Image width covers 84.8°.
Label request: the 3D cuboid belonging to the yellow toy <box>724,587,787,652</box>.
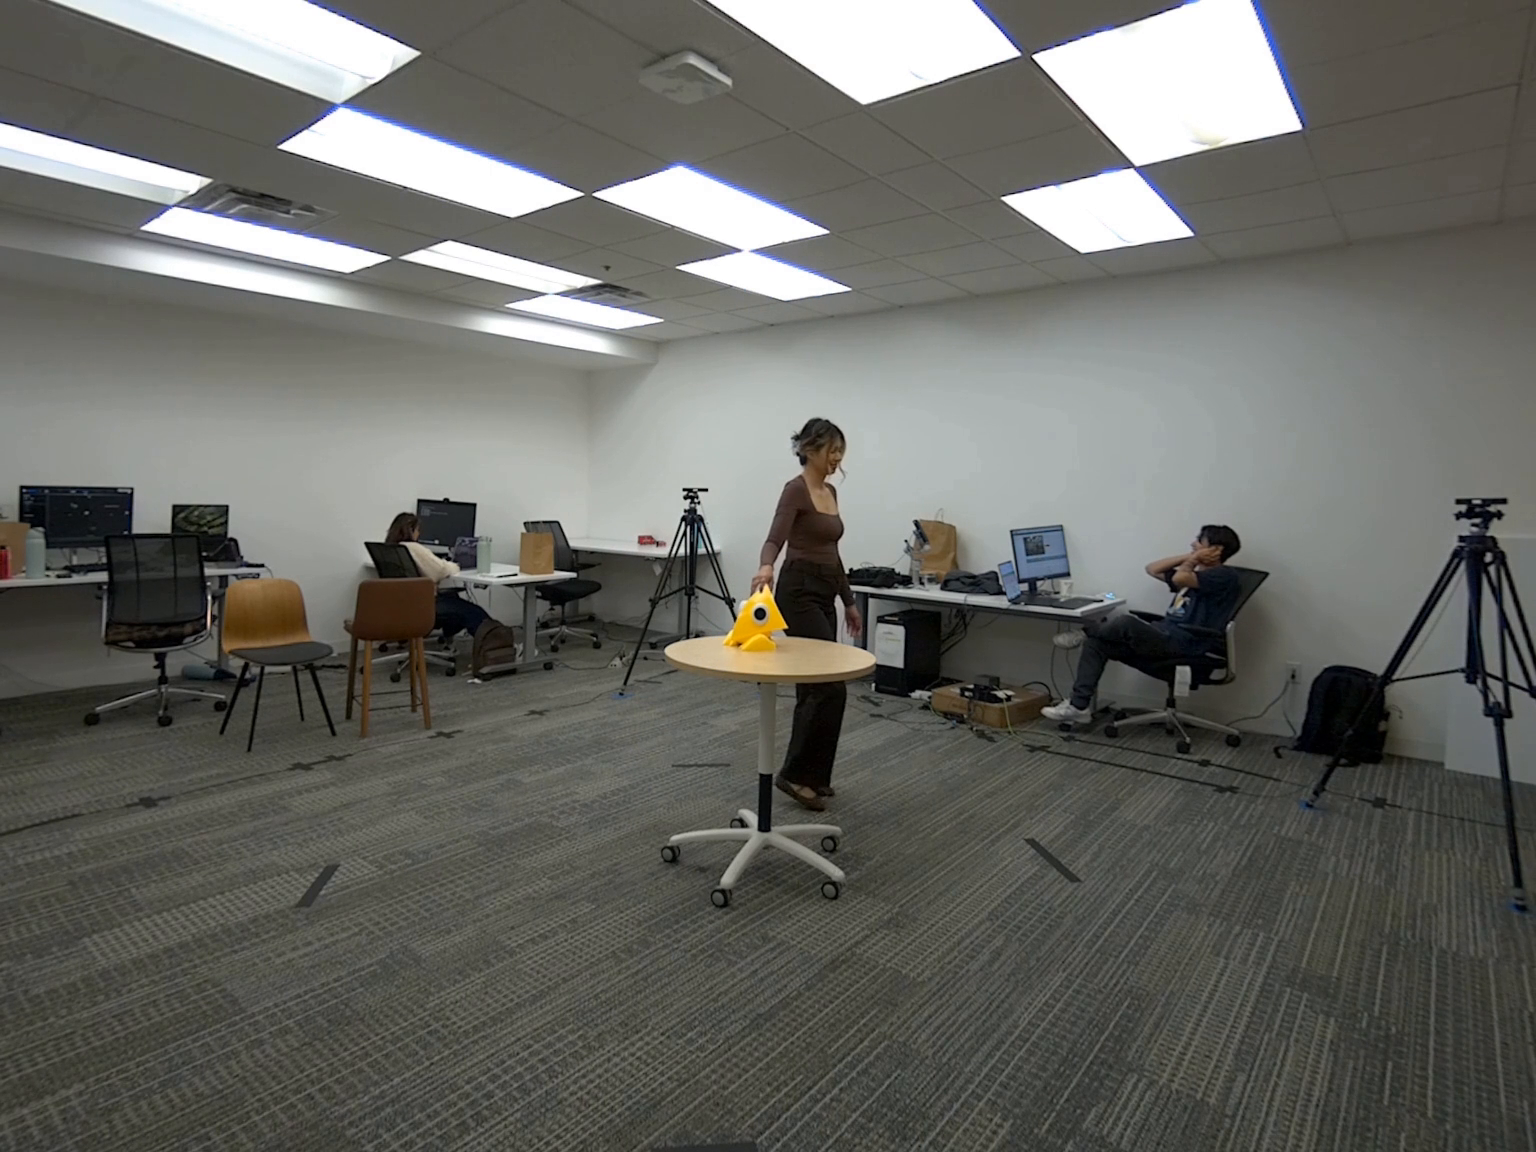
[{"bbox_3d":[-0.066,0.149,3.227,0.187,0.230,0.211,-1,5,-34],"label":"yellow toy"}]
